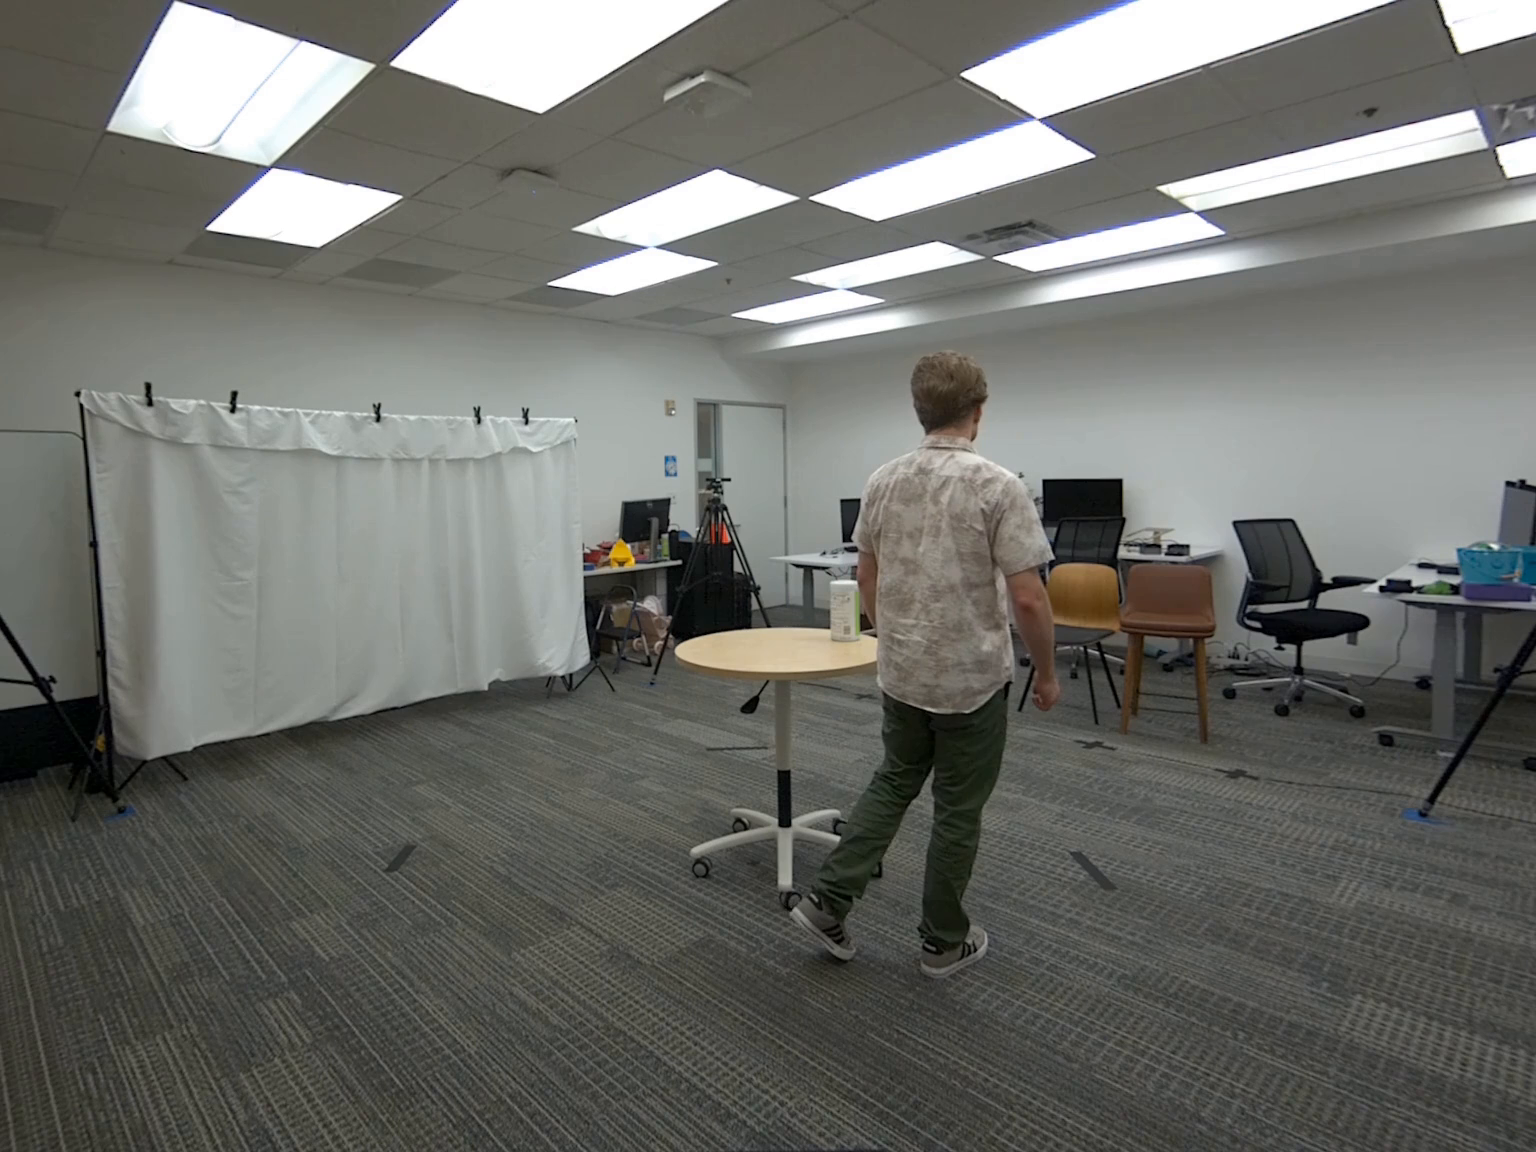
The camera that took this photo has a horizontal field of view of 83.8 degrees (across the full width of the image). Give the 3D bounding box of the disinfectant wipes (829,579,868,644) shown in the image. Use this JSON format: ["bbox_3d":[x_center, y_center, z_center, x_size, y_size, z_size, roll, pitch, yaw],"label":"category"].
[{"bbox_3d":[0.284,0.128,3.164,0.118,0.217,0.118,-2,3,-2],"label":"disinfectant wipes"}]
